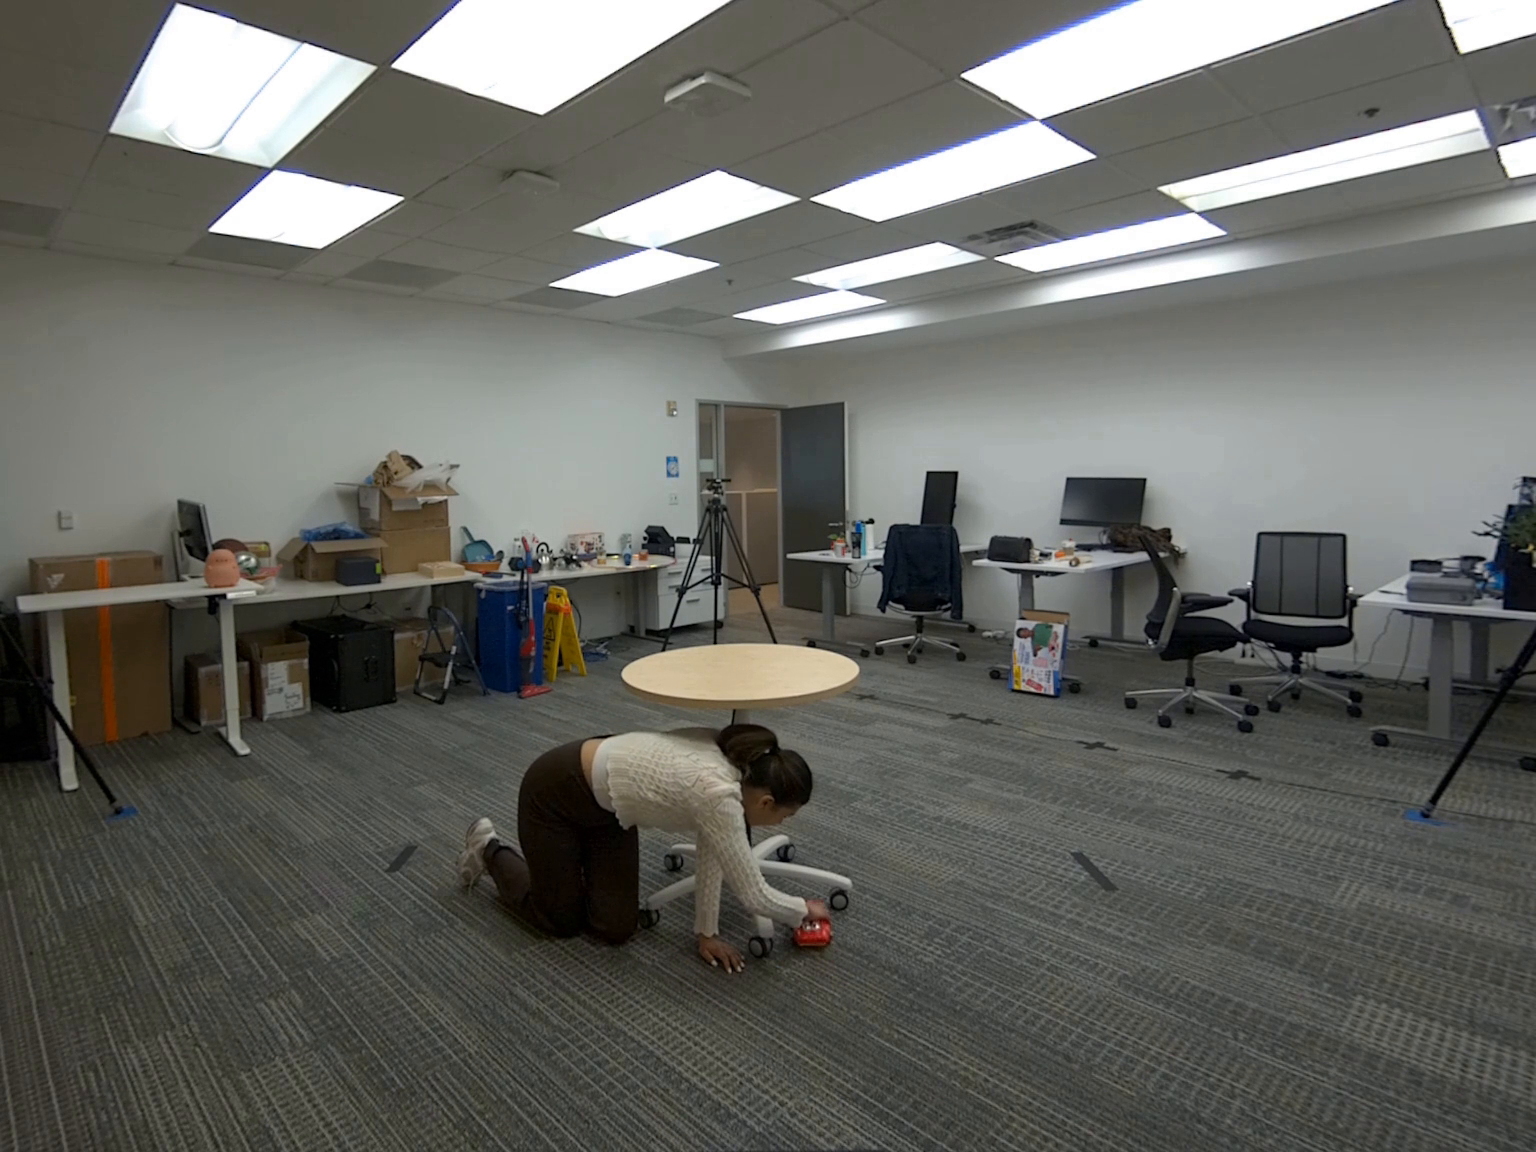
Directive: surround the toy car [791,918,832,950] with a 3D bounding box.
[{"bbox_3d":[0.121,1.065,2.608,0.130,0.083,0.253,0,-3,-1],"label":"toy car"}]
